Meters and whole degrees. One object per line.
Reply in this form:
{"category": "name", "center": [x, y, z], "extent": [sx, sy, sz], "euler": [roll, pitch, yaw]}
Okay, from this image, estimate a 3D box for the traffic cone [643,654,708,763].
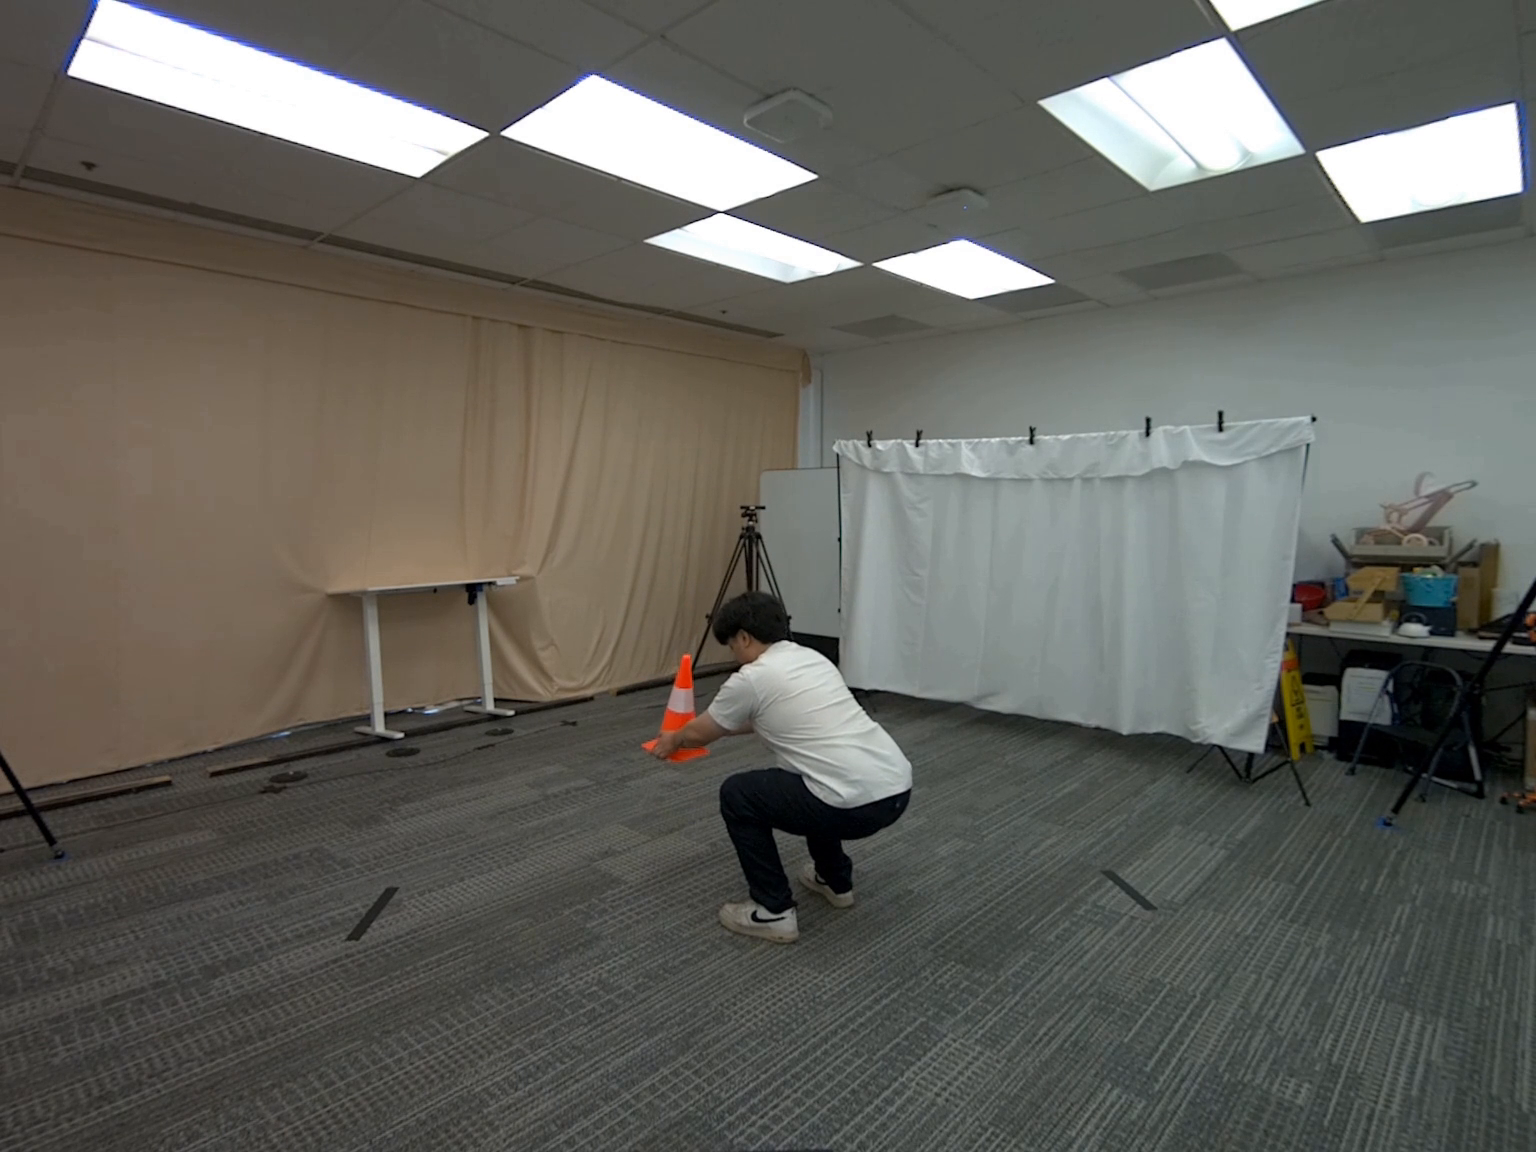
{"category": "traffic cone", "center": [-0.339, 0.481, 3.253], "extent": [0.208, 0.381, 0.201], "euler": [8, 12, 22]}
